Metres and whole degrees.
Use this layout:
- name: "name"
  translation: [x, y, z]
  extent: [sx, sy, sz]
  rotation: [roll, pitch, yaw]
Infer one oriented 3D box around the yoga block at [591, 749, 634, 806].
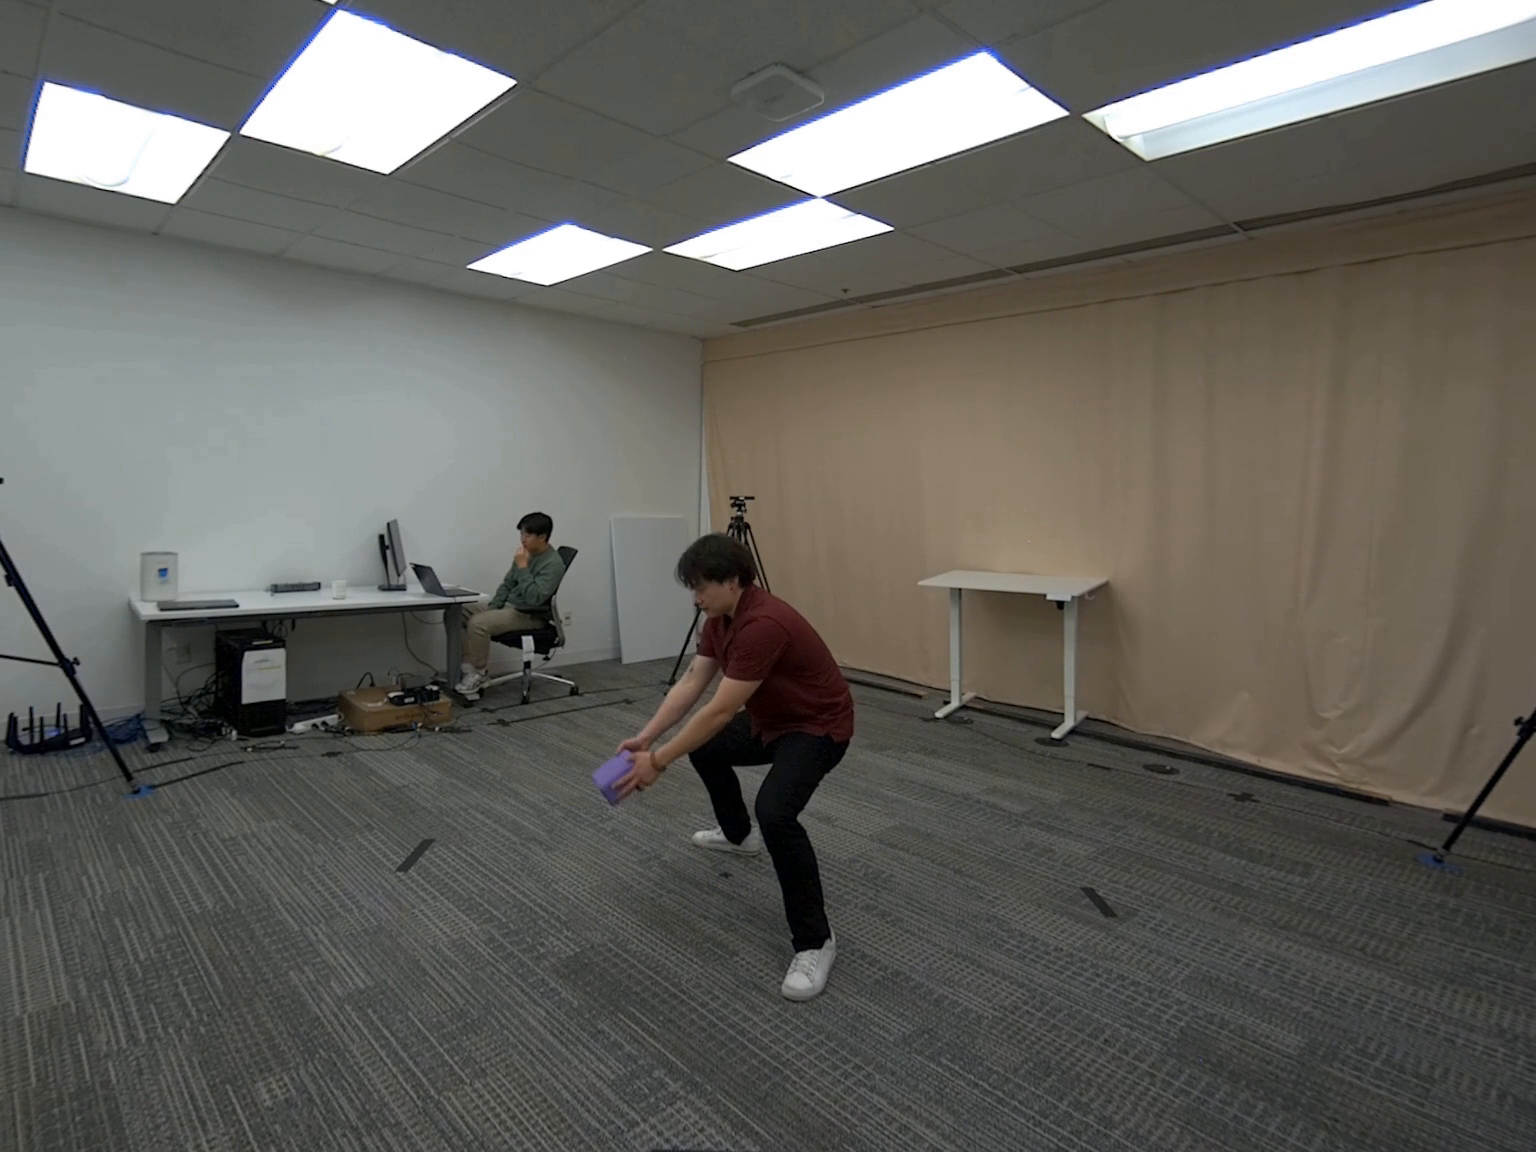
- name: "yoga block"
  translation: [-0.463, 0.651, 2.714]
  extent: [0.148, 0.075, 0.233]
  rotation: [-35, 16, -15]
